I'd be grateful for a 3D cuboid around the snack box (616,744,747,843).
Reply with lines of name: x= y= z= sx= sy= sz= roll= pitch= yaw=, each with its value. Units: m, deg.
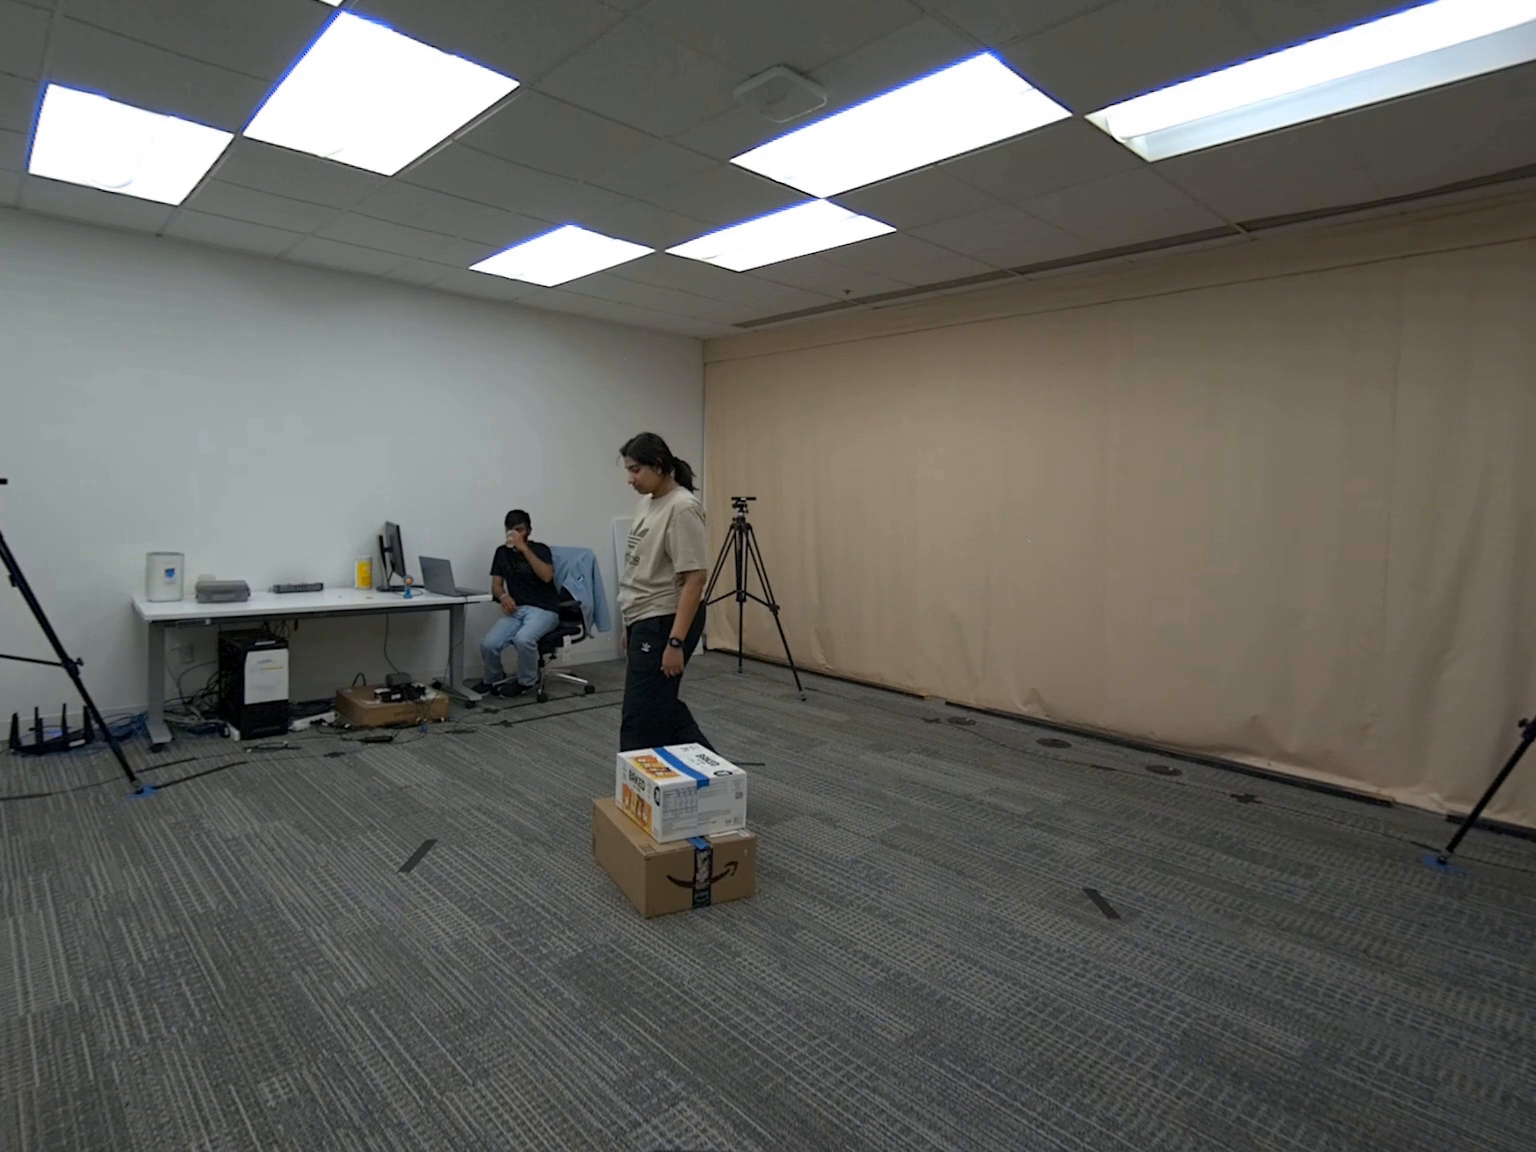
snack box: x=-0.330 y=0.790 z=3.091 sx=0.333 sy=0.205 sz=0.414 roll=-1 pitch=5 yaw=-30
